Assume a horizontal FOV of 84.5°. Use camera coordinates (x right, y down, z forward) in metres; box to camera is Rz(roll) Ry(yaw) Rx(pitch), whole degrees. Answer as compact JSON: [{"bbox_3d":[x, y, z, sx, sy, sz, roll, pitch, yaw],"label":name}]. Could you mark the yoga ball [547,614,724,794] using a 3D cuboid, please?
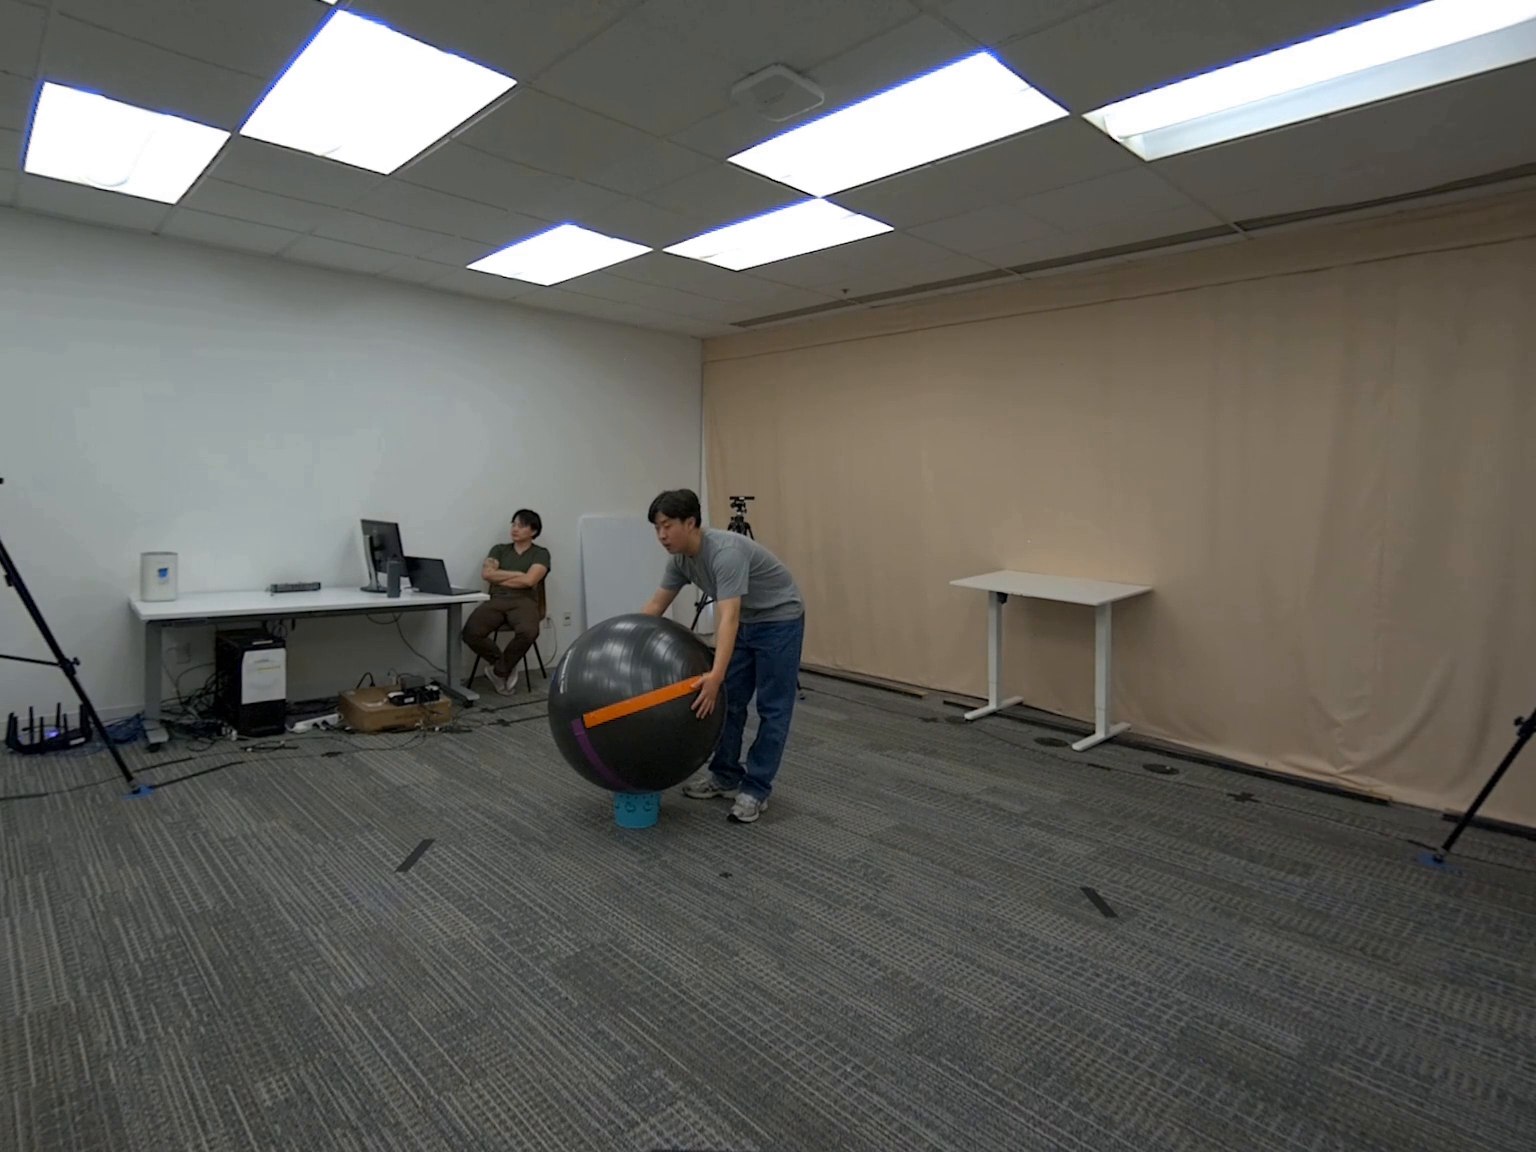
[{"bbox_3d":[-0.562,0.542,3.591,0.757,0.756,0.761,1,4,-1],"label":"yoga ball"}]
